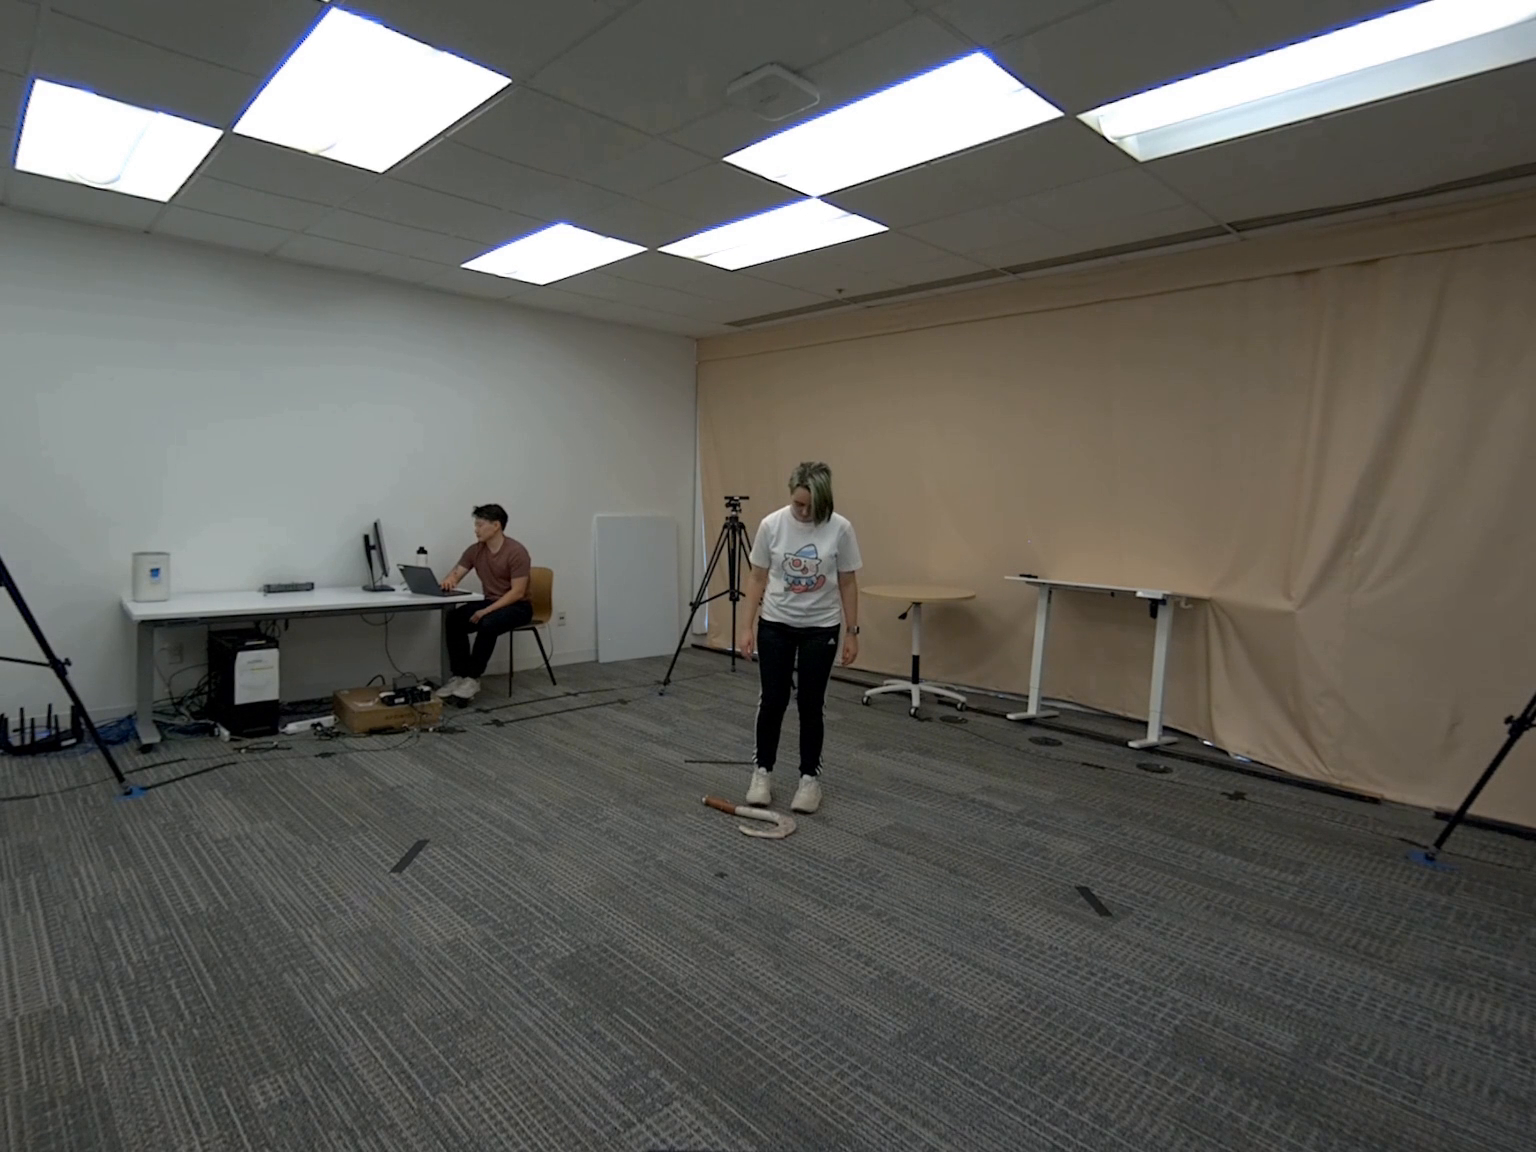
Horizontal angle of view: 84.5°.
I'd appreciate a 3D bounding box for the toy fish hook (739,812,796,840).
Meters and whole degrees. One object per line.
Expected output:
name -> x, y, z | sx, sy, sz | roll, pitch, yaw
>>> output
toy fish hook -> -0.125, 1.037, 3.630 | 0.519, 0.048, 0.219 | 5, 4, 36
